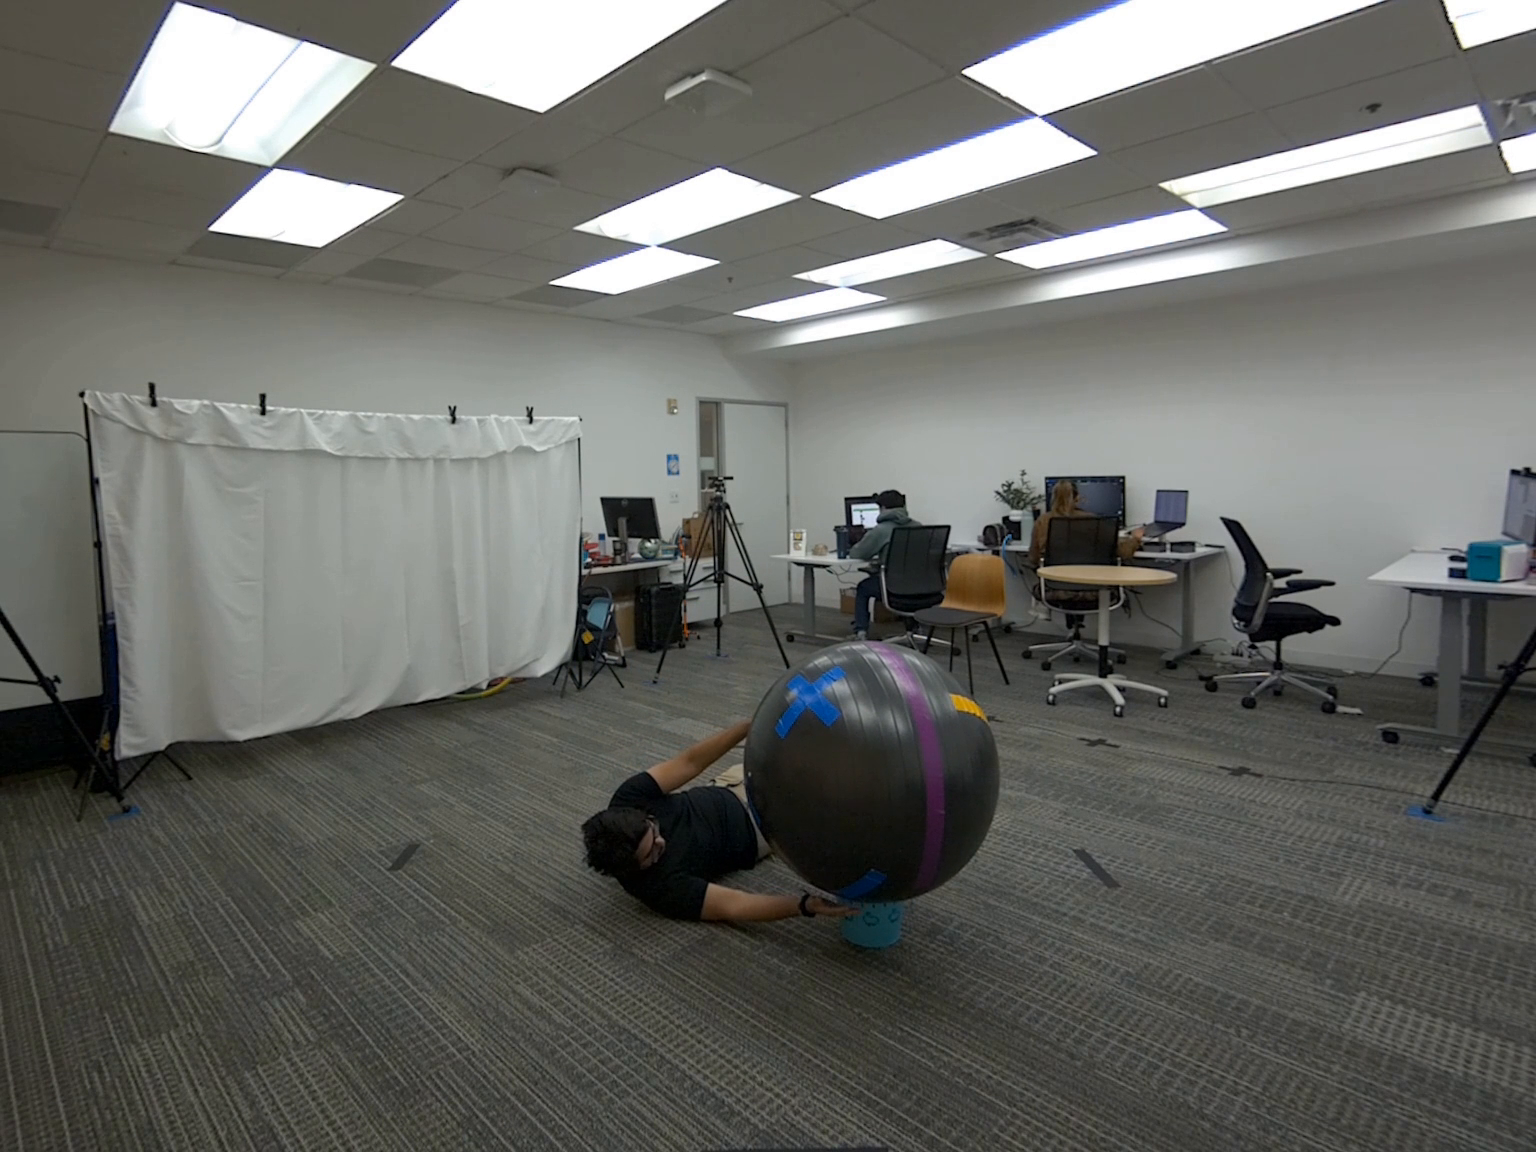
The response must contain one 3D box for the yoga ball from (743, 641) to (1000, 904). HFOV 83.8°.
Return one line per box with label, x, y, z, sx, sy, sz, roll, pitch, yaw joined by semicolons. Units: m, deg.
yoga ball;0.310;0.586;2.583;0.757;0.755;0.761;-1;4;-2
